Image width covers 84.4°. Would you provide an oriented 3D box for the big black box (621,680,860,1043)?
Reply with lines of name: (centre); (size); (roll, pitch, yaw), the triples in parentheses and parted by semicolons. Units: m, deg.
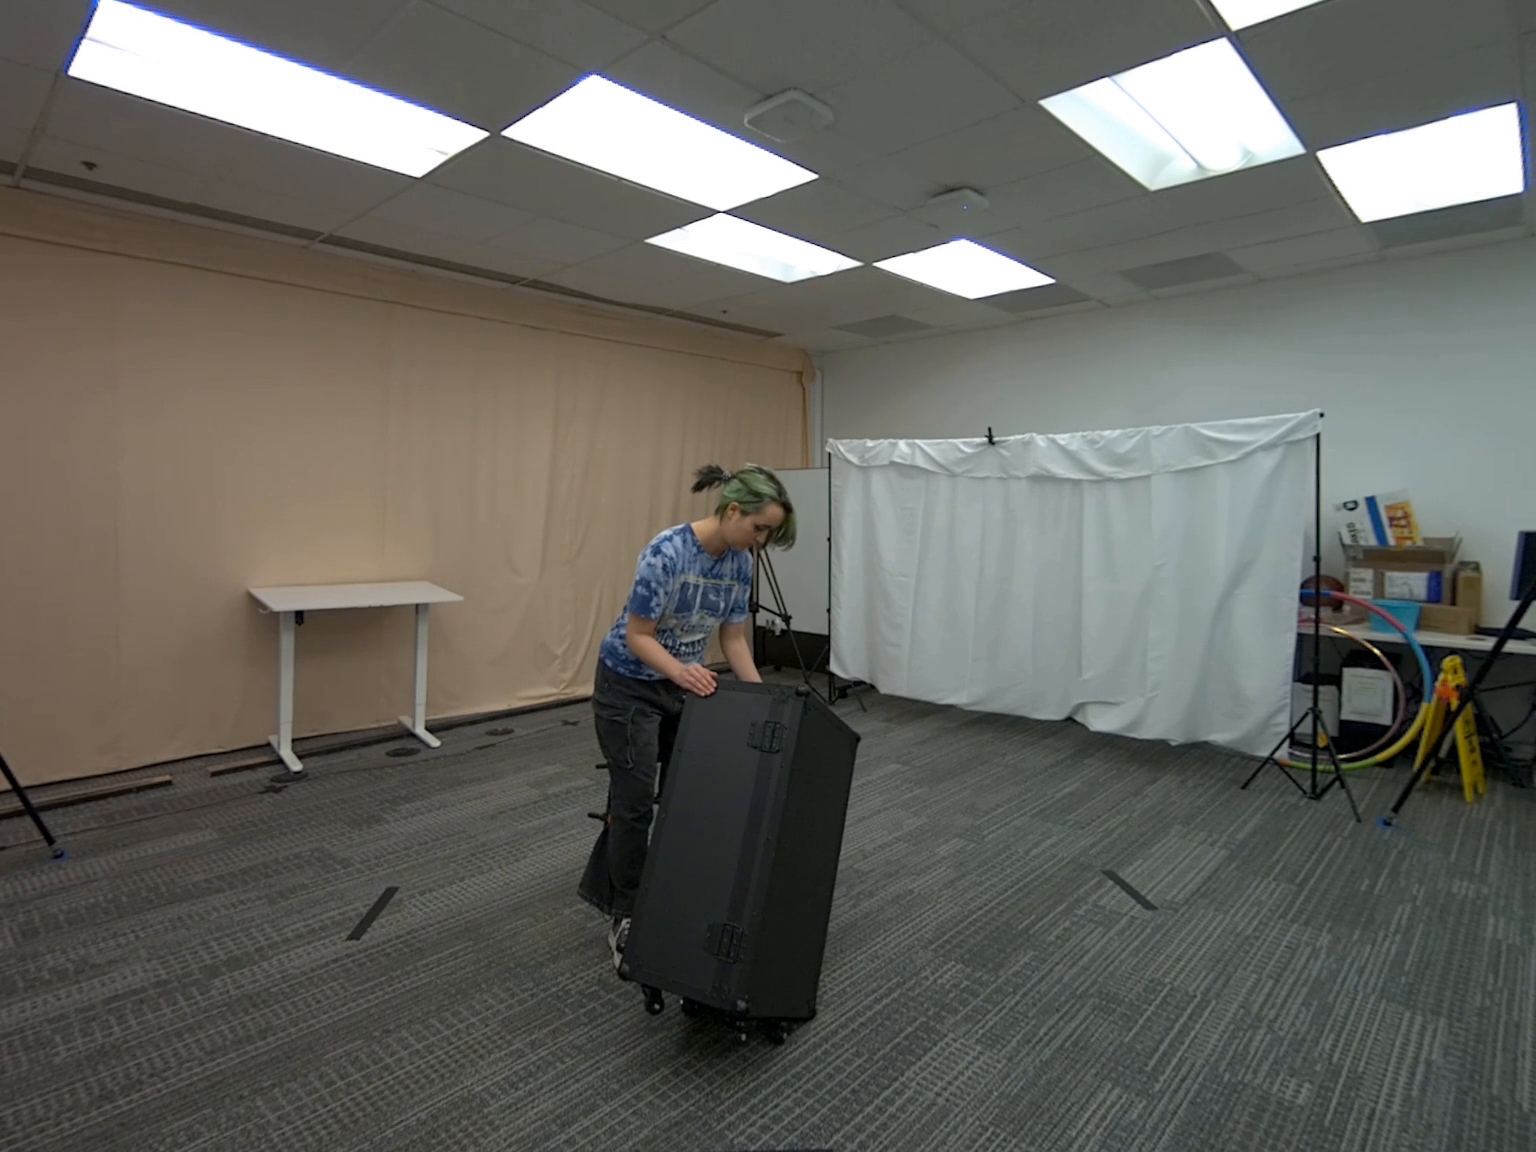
big black box: (-0.055, 0.769, 2.319); (0.407, 0.868, 0.503); (0, -25, 27)
